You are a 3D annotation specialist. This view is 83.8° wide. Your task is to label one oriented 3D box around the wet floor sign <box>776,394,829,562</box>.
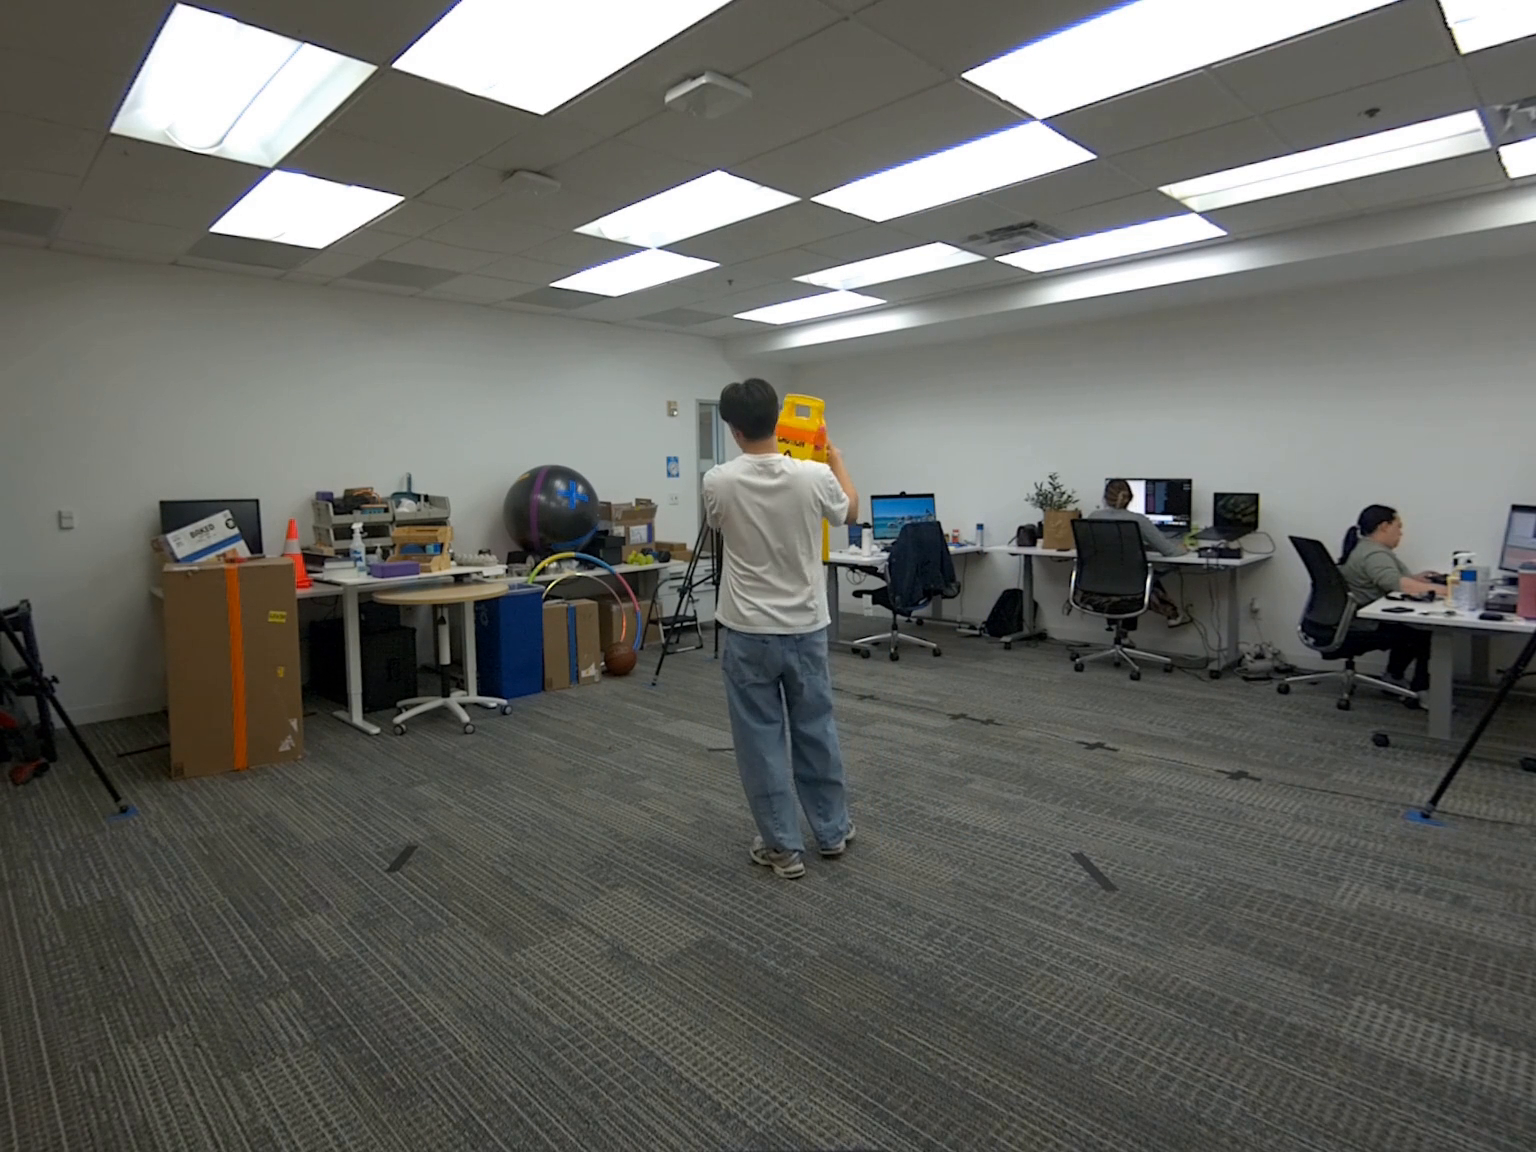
[{"bbox_3d":[0.105,-0.396,3.429,0.282,0.640,0.293,-3,17,-44],"label":"wet floor sign"}]
